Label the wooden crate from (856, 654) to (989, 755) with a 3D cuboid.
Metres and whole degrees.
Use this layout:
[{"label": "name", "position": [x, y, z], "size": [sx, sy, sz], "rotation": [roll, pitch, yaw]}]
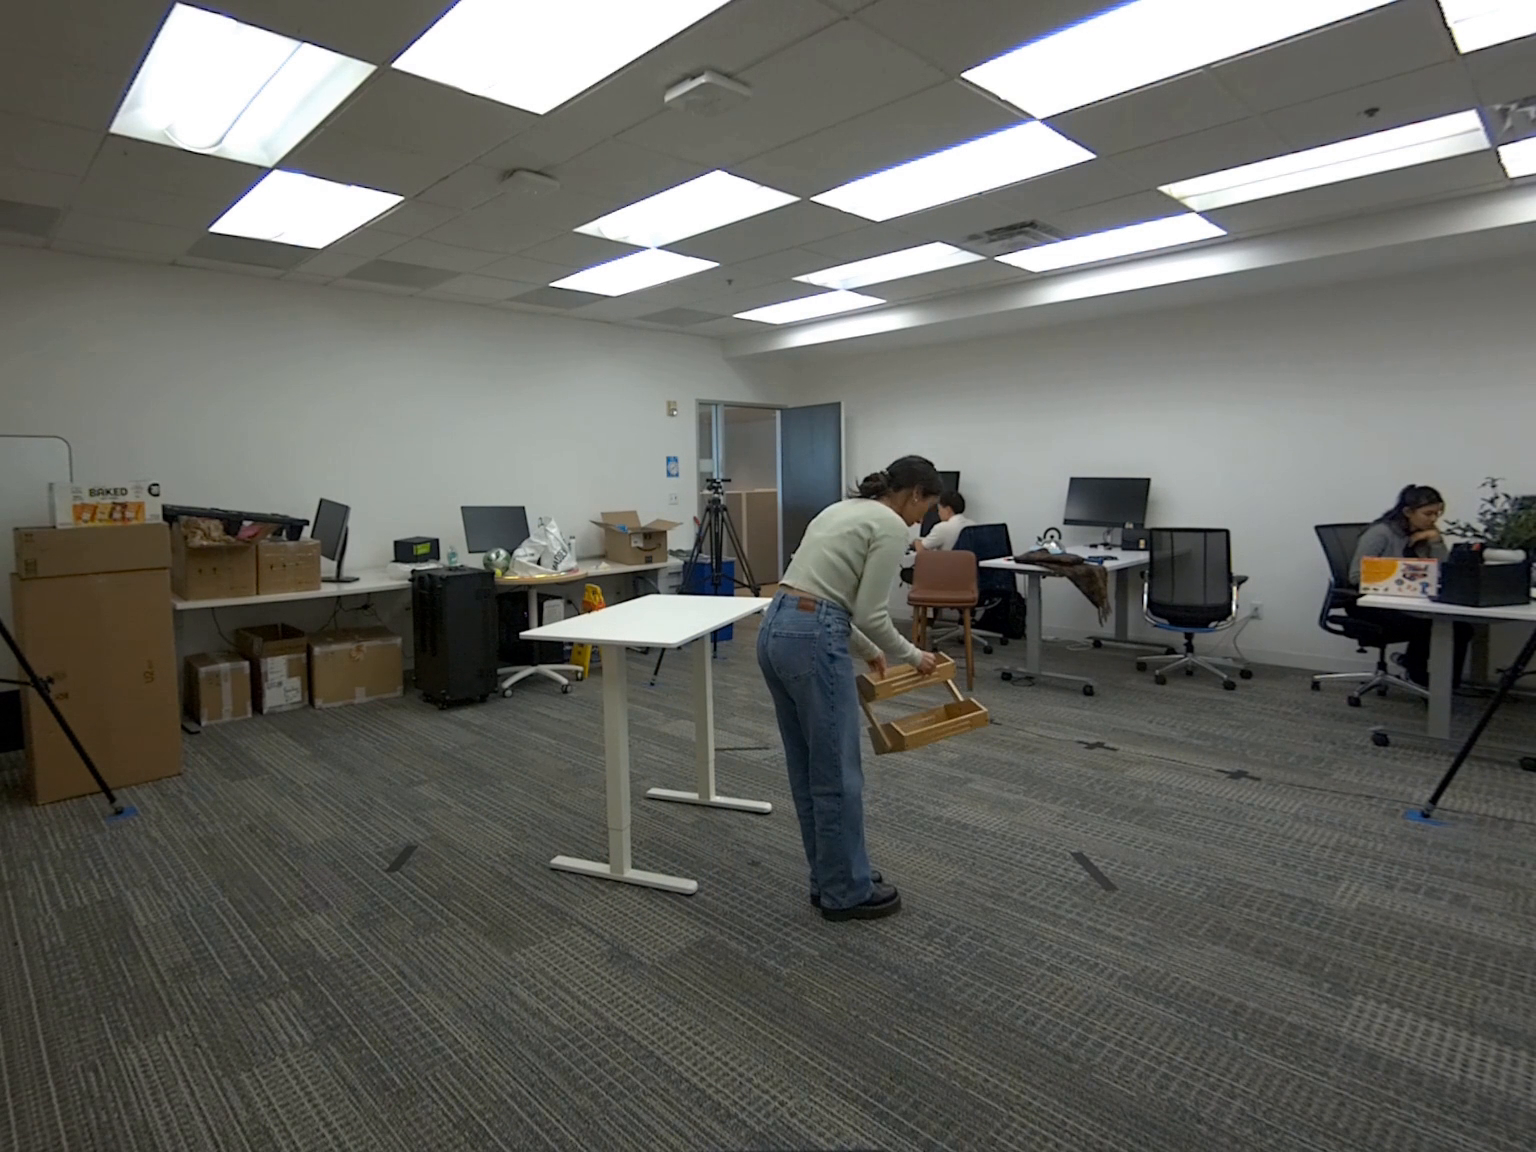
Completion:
[{"label": "wooden crate", "position": [0.478, 0.403, 2.774], "size": [0.320, 0.277, 0.301], "rotation": [-13, -13, -18]}]
